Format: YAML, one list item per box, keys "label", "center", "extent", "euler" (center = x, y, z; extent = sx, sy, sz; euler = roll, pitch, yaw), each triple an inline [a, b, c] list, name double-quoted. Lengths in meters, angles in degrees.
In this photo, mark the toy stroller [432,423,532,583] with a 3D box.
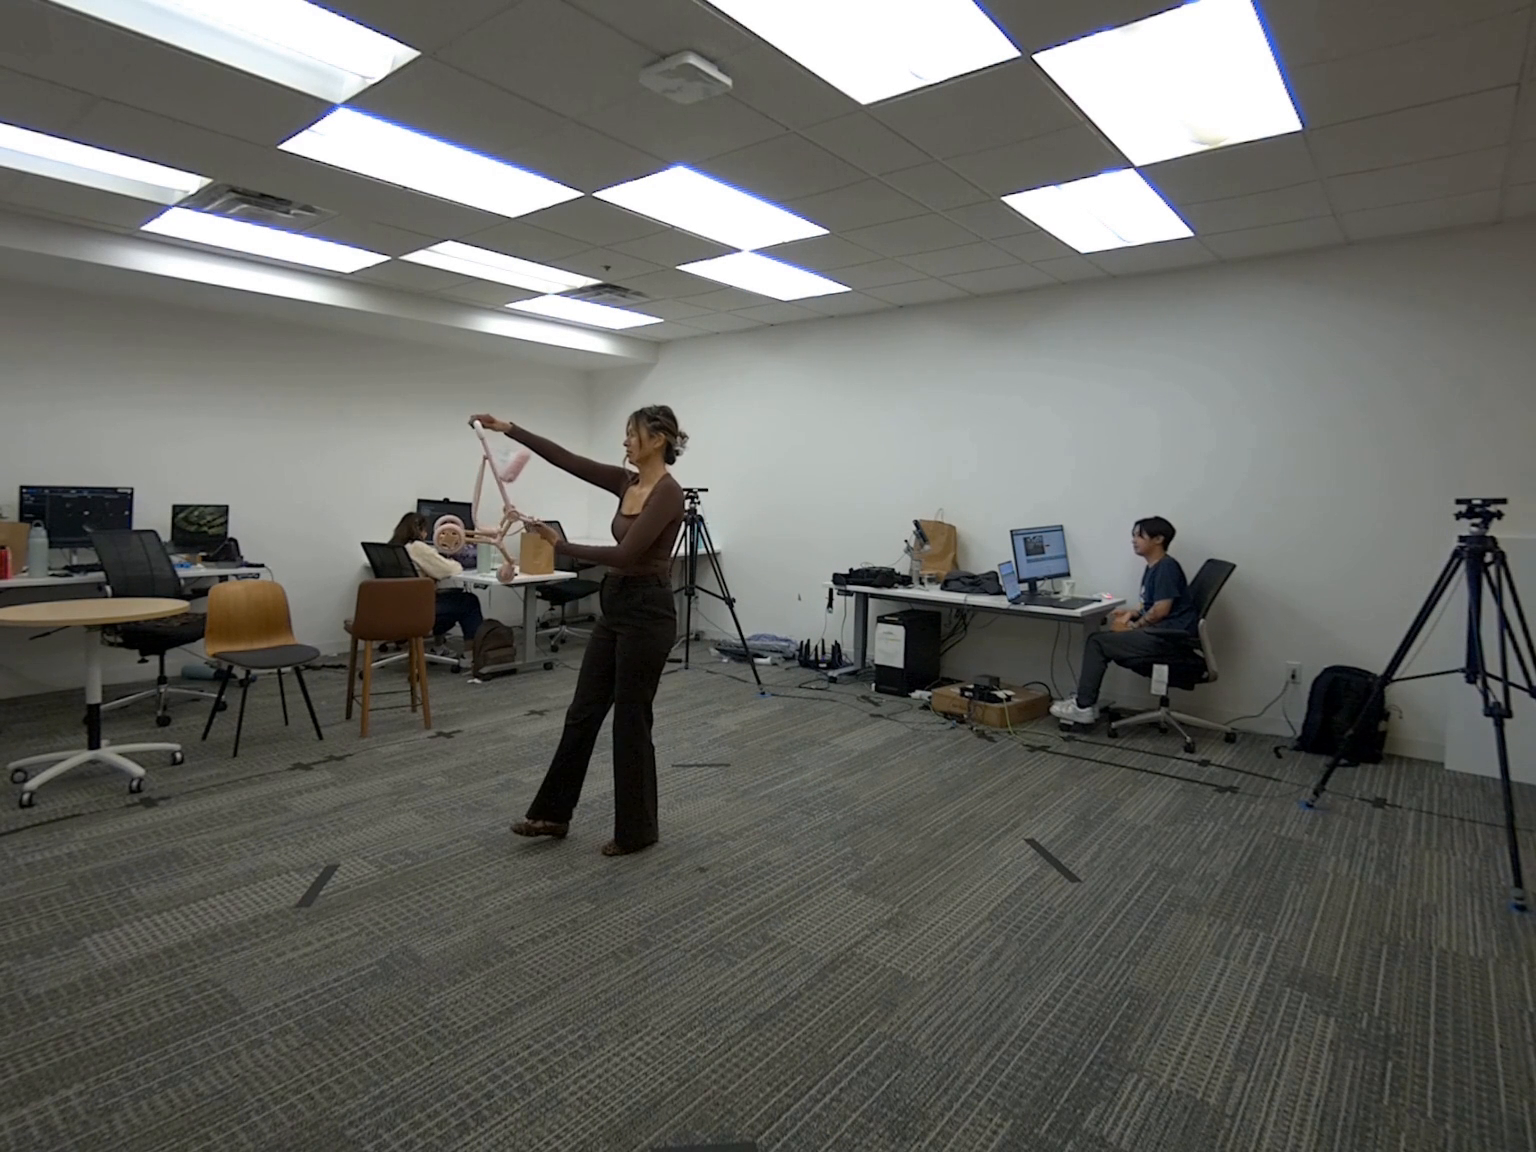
- label: "toy stroller"
  center: [-1.040, -0.265, 3.161]
  extent: [0.334, 0.534, 0.287]
  euler: [21, 2, -16]
